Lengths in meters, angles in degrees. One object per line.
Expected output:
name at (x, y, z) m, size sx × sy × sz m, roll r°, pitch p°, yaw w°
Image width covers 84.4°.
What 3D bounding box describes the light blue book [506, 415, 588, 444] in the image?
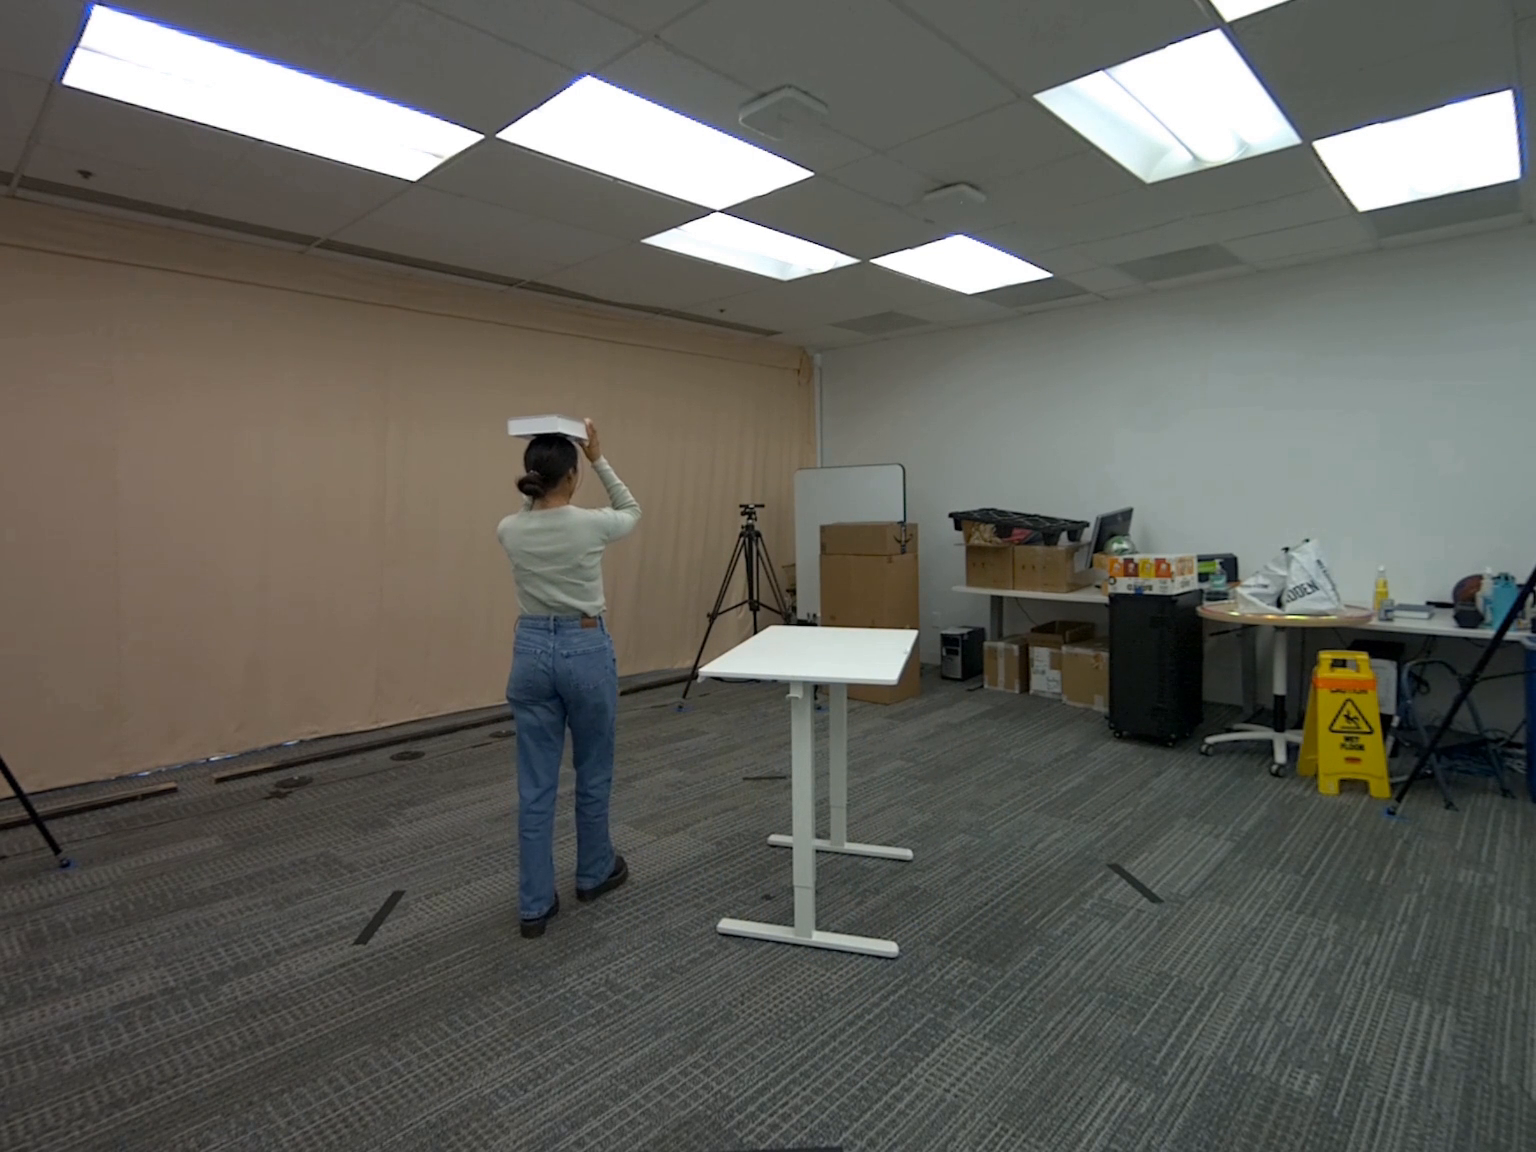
light blue book at (-0.746, -0.507, 2.902) m, size 0.194 × 0.059 × 0.258 m, roll -2°, pitch 2°, yaw 11°
